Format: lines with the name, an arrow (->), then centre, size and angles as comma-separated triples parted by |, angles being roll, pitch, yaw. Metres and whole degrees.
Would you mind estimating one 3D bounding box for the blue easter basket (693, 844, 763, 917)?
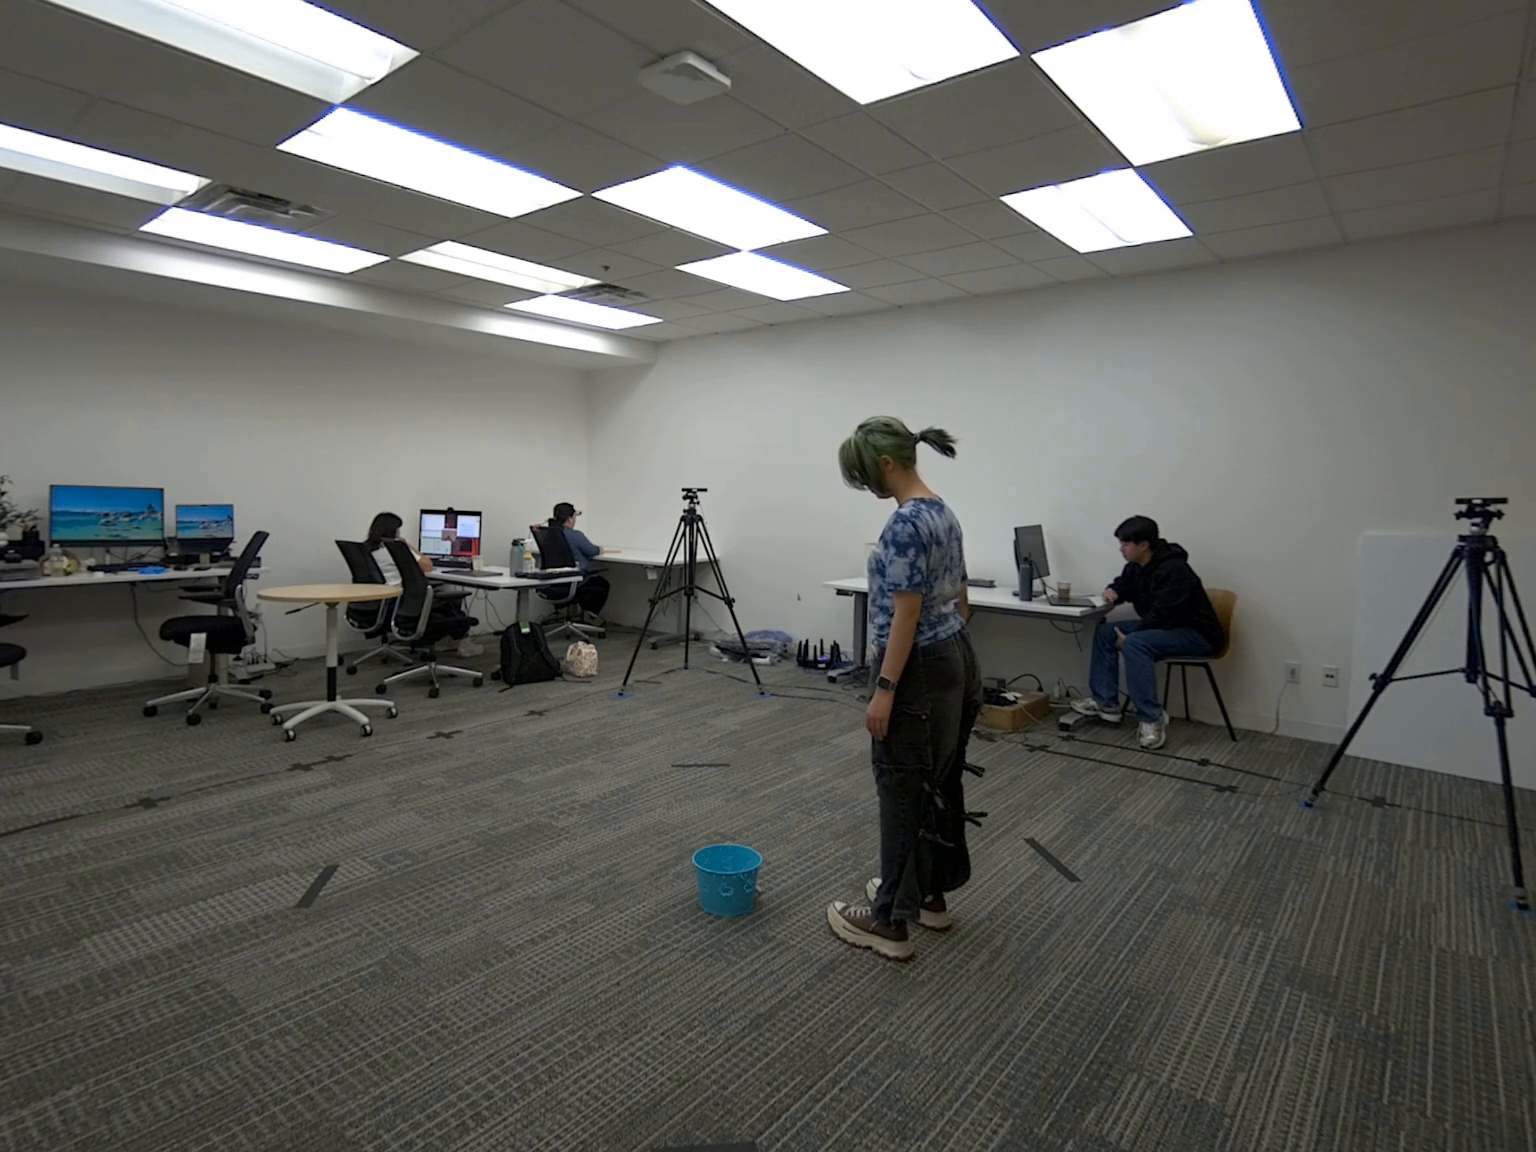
blue easter basket -> -0.146, 1.014, 2.851 | 0.243, 0.155, 0.244 | 1, 4, -2
